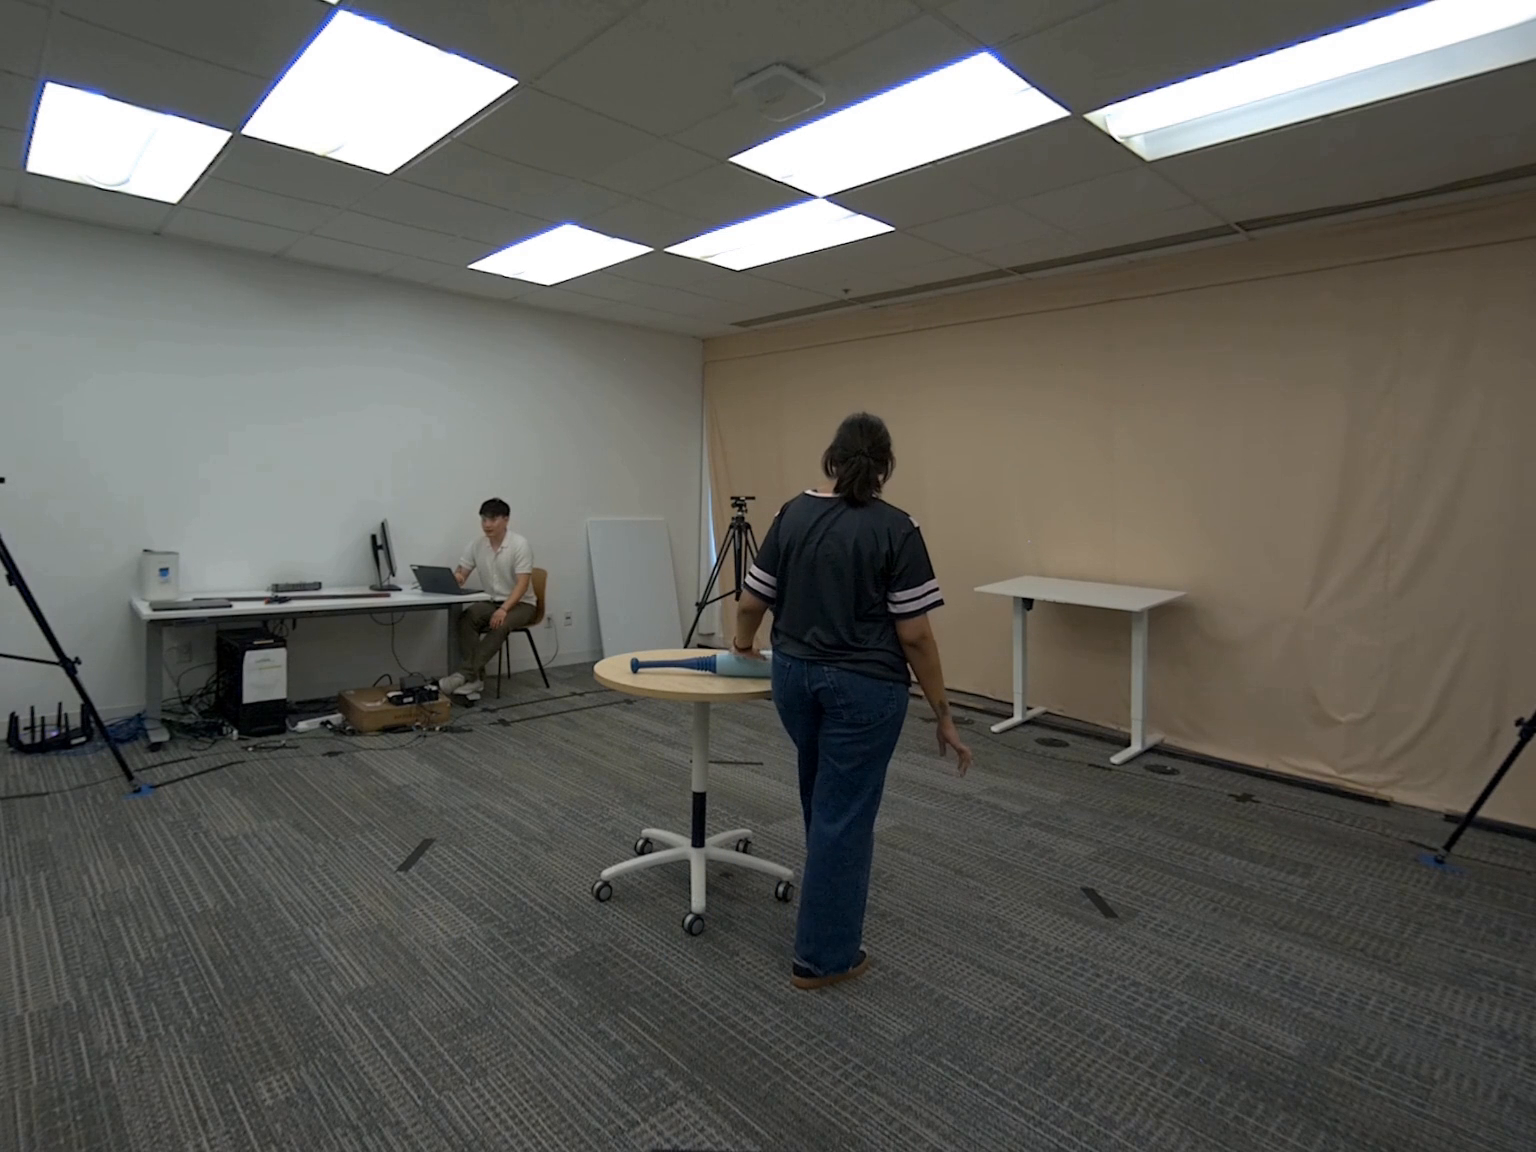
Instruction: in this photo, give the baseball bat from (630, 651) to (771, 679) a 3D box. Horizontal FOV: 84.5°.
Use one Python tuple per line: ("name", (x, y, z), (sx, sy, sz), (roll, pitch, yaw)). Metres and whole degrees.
("baseball bat", (-0.203, 0.307, 2.867), (0.543, 0.089, 0.089), (-1, 4, 0))
